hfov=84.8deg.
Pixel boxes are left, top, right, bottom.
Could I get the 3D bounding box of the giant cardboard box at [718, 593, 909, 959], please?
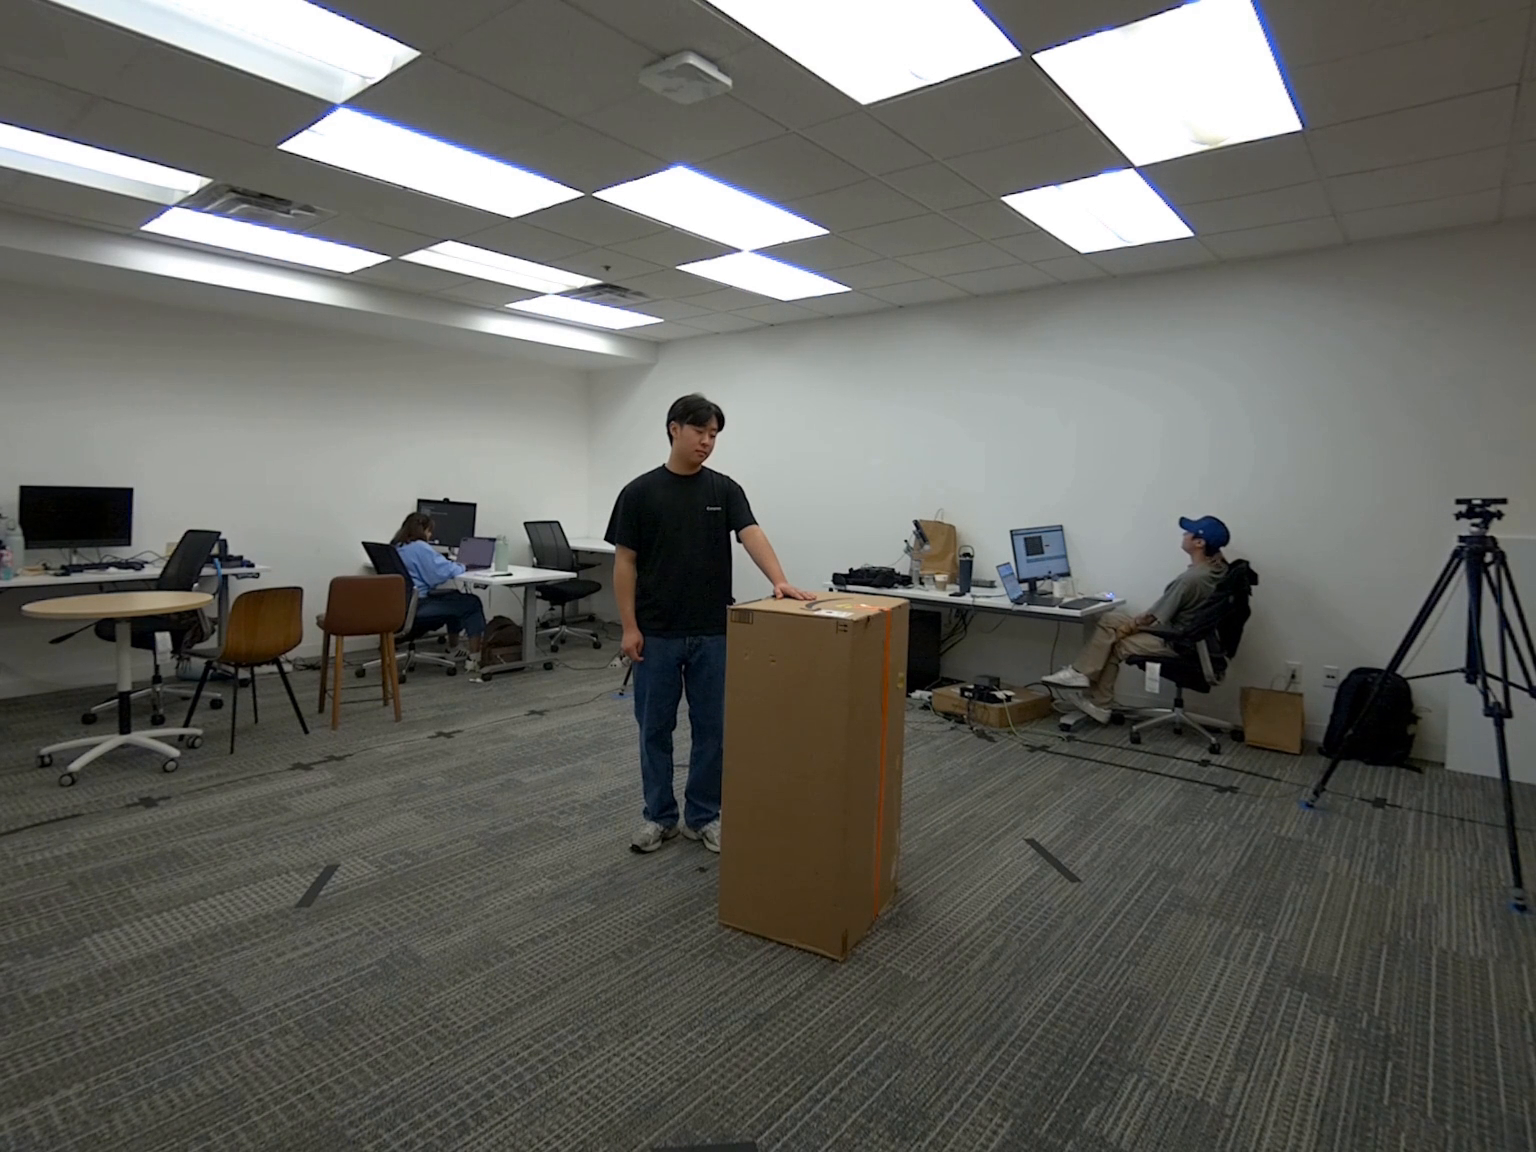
[{"bbox_3d":[0.163,0.591,2.836,0.460,1.024,0.569,4,4,28],"label":"giant cardboard box"}]
